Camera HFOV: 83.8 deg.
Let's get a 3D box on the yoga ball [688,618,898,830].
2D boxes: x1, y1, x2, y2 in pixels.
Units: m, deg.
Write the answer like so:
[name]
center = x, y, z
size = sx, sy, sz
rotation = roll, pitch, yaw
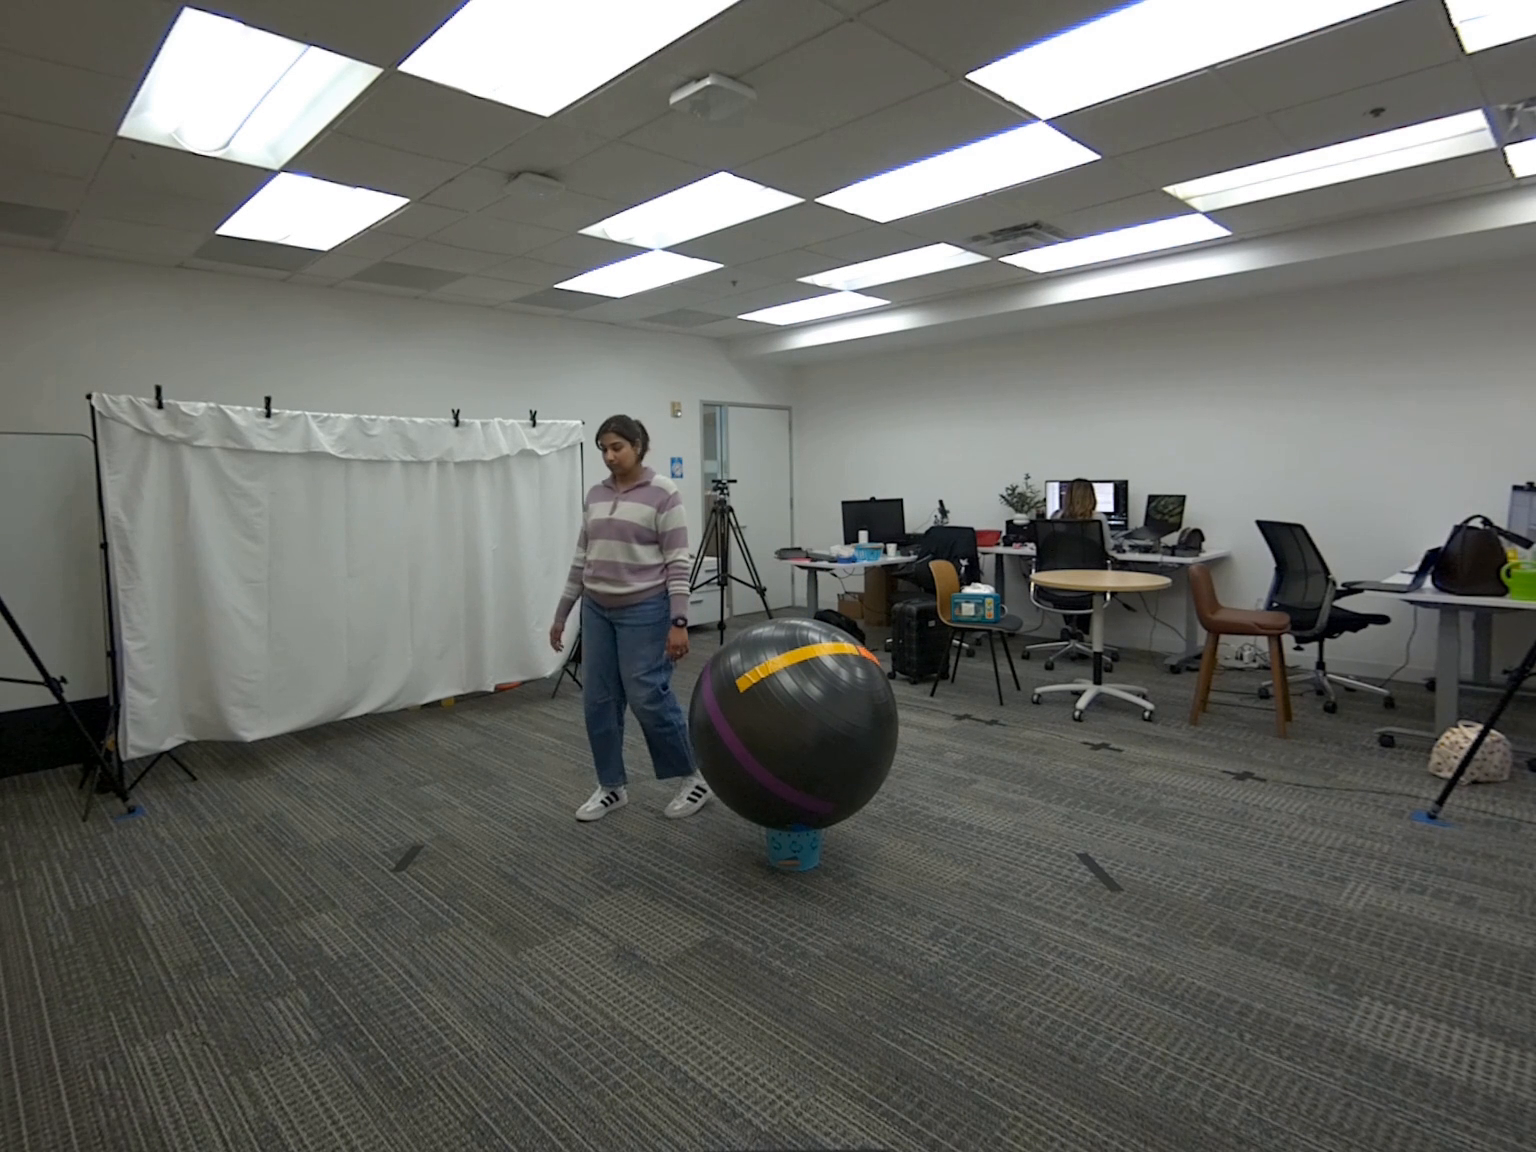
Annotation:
[yoga ball]
center = 0.089, 0.532, 3.104
size = 0.757, 0.755, 0.762
rotation = -1, 5, -2
